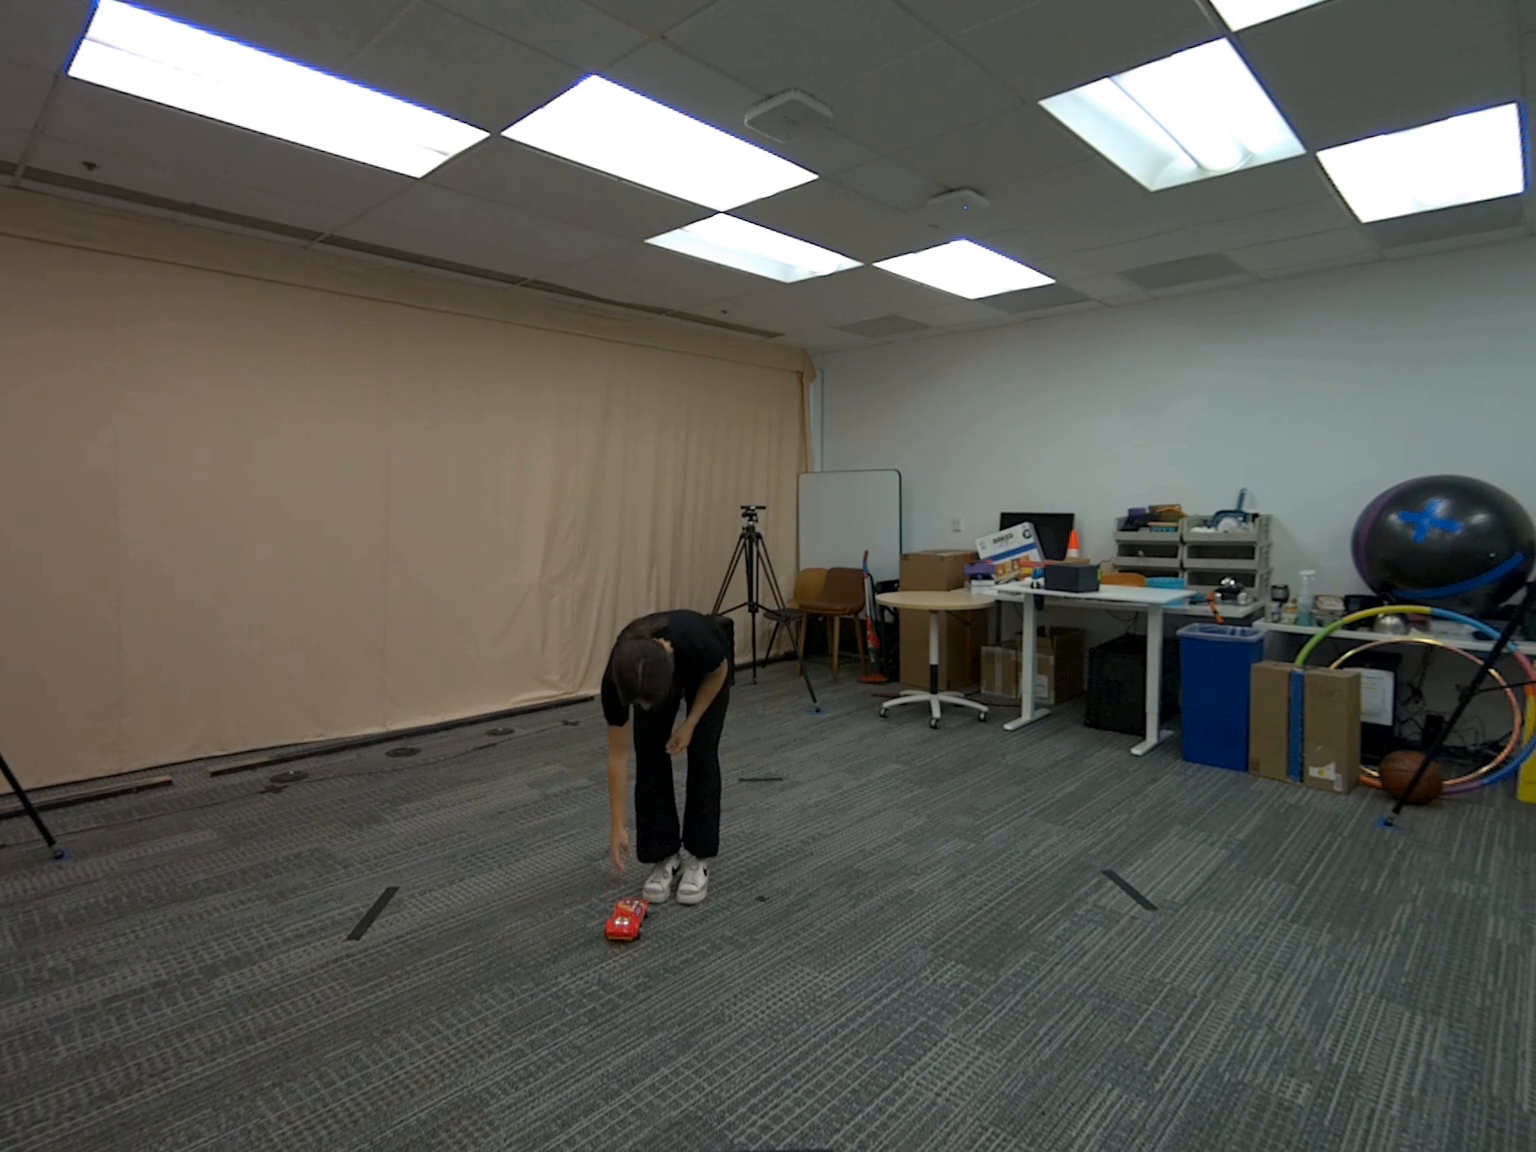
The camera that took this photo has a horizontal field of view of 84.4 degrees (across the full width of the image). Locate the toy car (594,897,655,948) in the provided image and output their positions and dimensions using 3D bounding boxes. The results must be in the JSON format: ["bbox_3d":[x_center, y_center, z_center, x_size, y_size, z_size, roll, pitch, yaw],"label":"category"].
[{"bbox_3d":[-0.467,1.126,2.767,0.131,0.083,0.251,1,-8,6],"label":"toy car"}]
